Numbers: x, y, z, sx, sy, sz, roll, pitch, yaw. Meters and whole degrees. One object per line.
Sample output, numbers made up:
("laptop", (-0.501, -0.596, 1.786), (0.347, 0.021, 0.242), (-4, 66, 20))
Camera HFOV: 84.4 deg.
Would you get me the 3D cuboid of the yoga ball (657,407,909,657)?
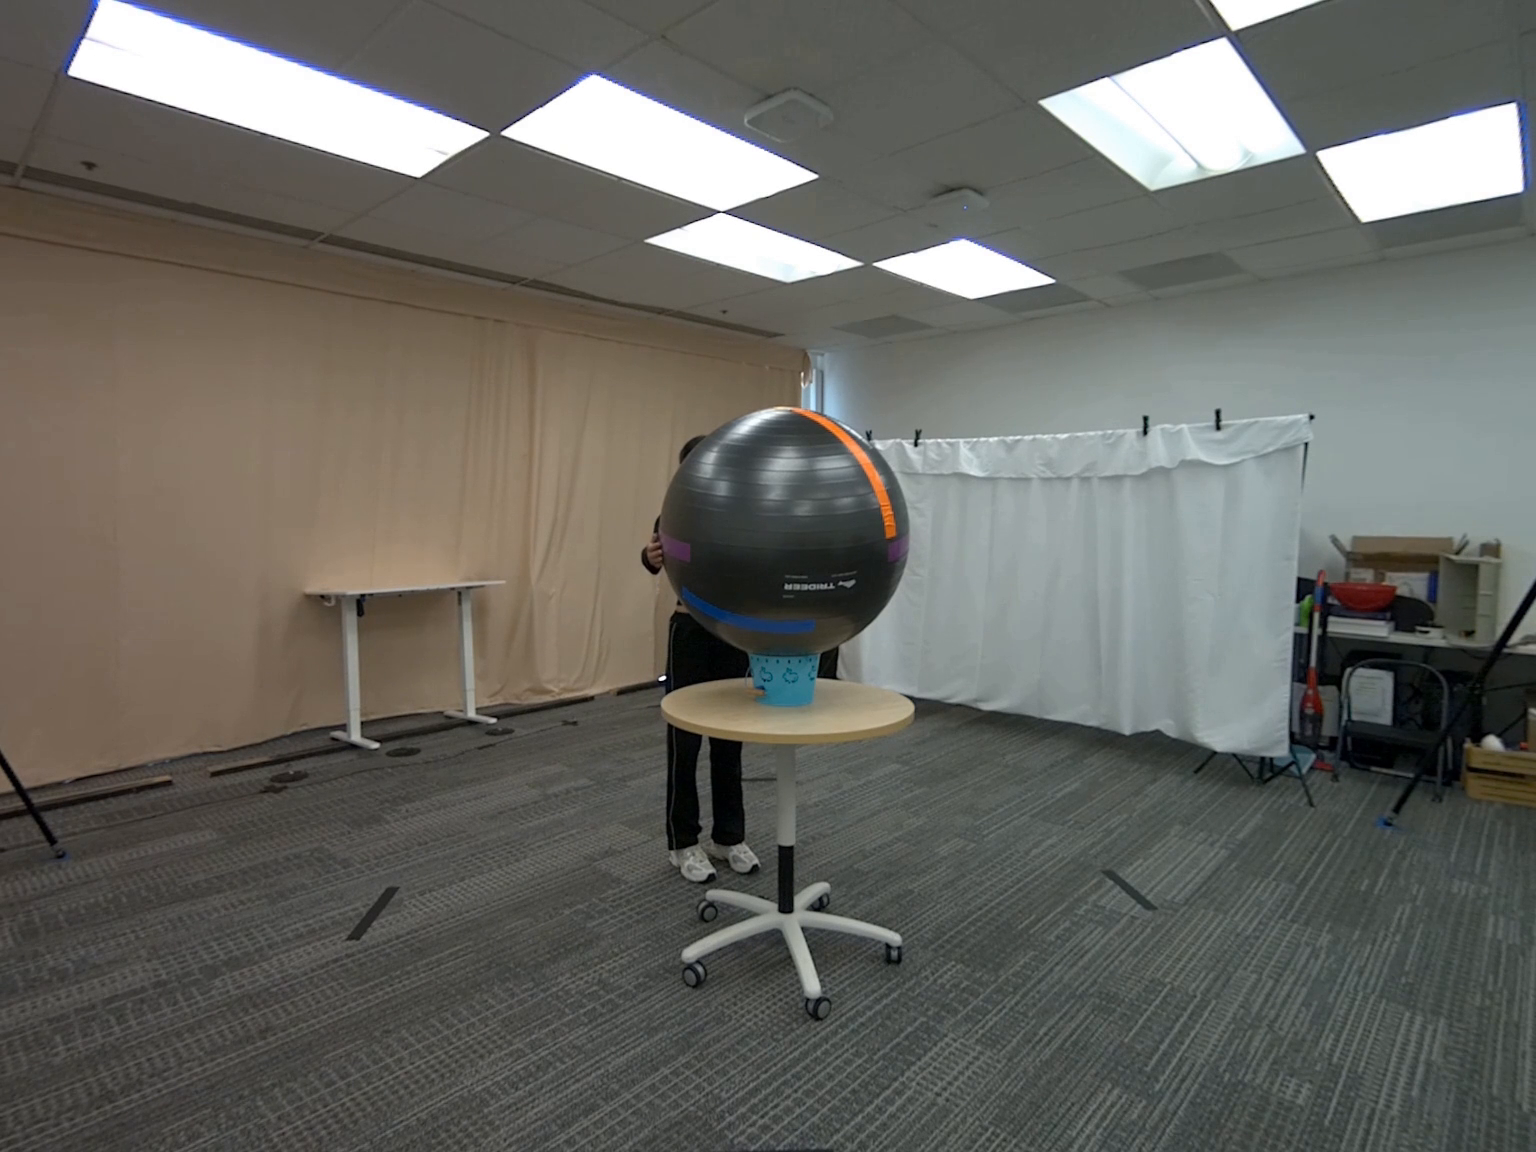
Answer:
("yoga ball", (0.045, -0.122, 2.575), (0.757, 0.756, 0.760), (0, 4, -2))
